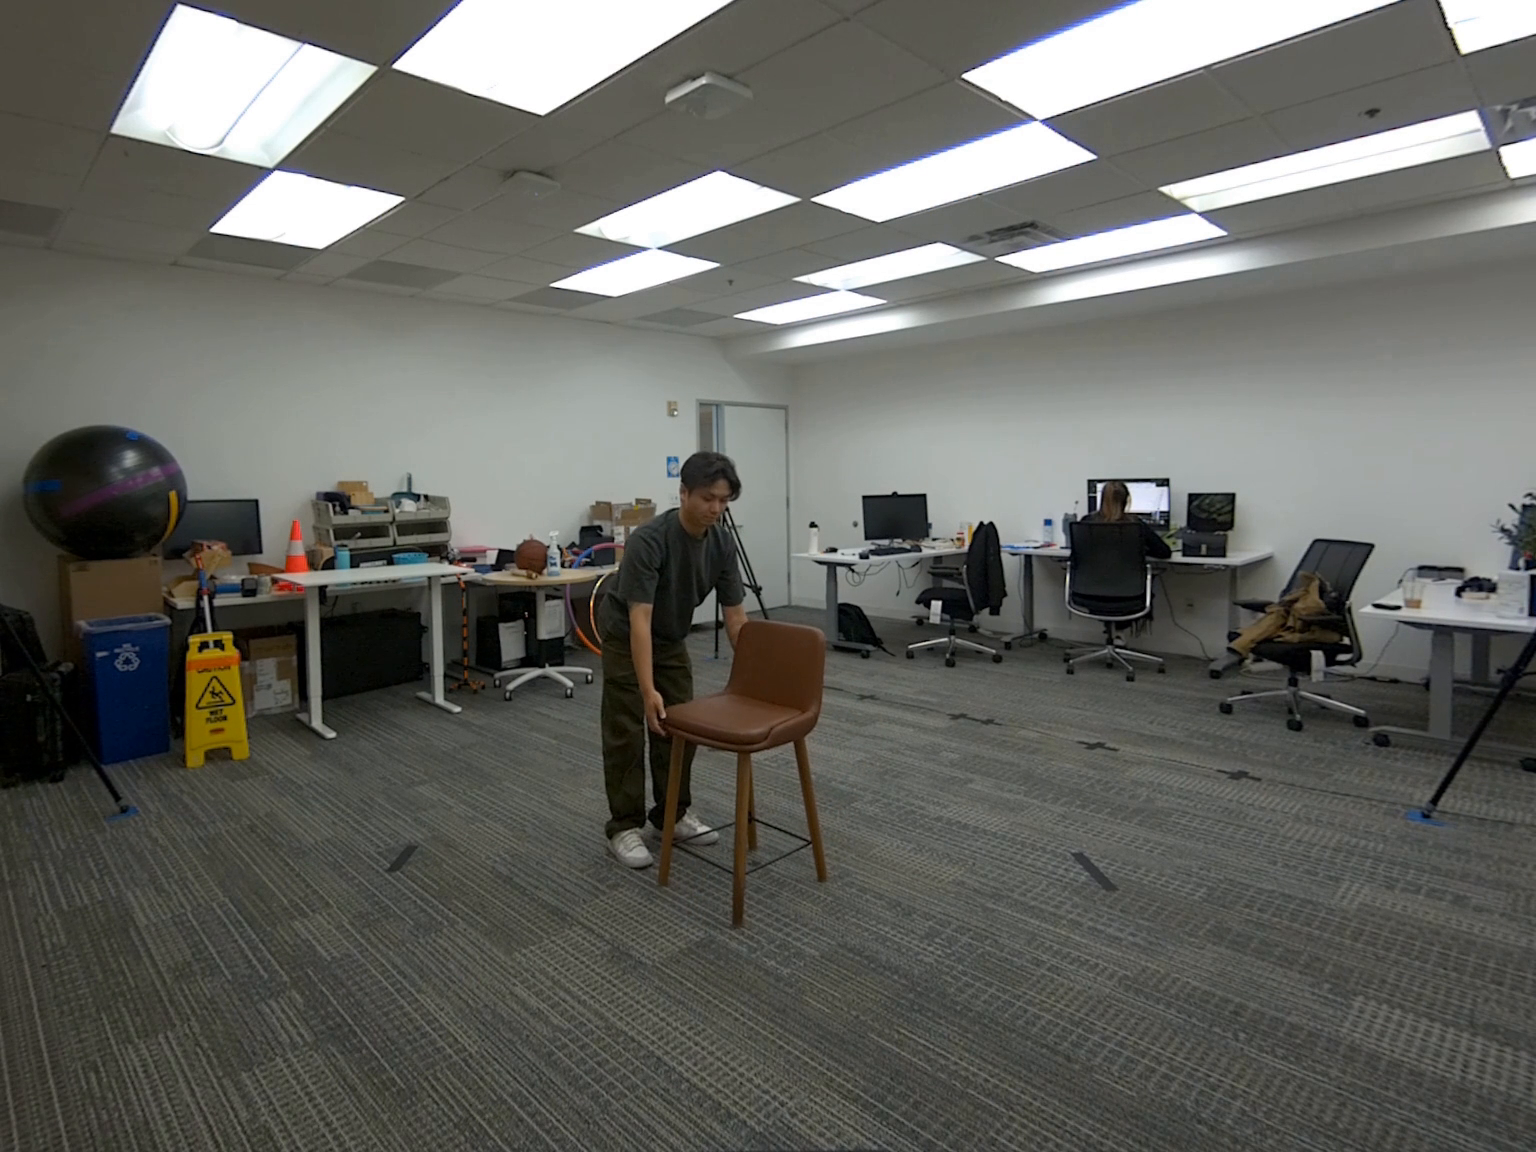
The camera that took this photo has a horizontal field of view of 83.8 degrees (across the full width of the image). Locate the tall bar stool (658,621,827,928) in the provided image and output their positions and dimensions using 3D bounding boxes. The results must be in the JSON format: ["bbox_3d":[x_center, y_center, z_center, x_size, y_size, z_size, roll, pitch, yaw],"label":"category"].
[{"bbox_3d":[-0.083,0.627,2.928,0.455,0.887,0.470,-3,4,-44],"label":"tall bar stool"}]
